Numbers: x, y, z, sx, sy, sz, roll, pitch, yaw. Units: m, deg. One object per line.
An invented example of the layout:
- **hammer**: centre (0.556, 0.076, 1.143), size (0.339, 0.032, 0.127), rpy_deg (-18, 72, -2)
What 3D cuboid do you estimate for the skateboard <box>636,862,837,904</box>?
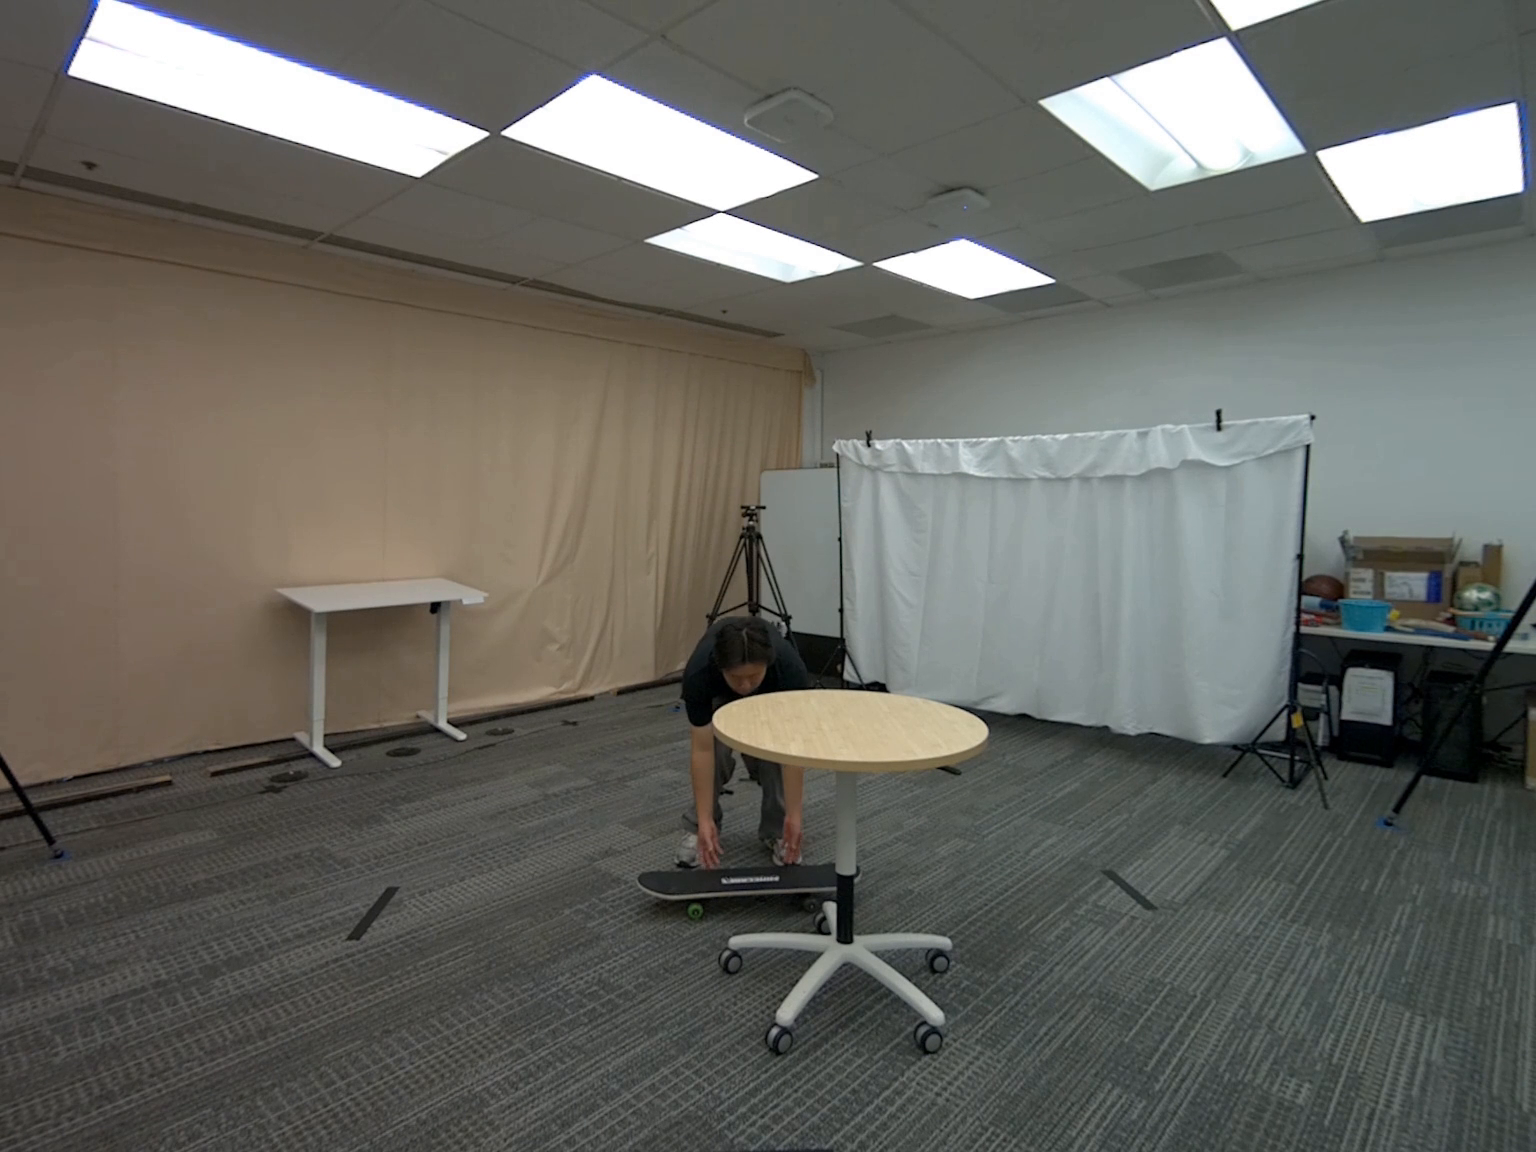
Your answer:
- **skateboard**: centre (-0.062, 1.085, 2.940), size (0.779, 0.110, 0.195), rpy_deg (-1, 5, -7)
